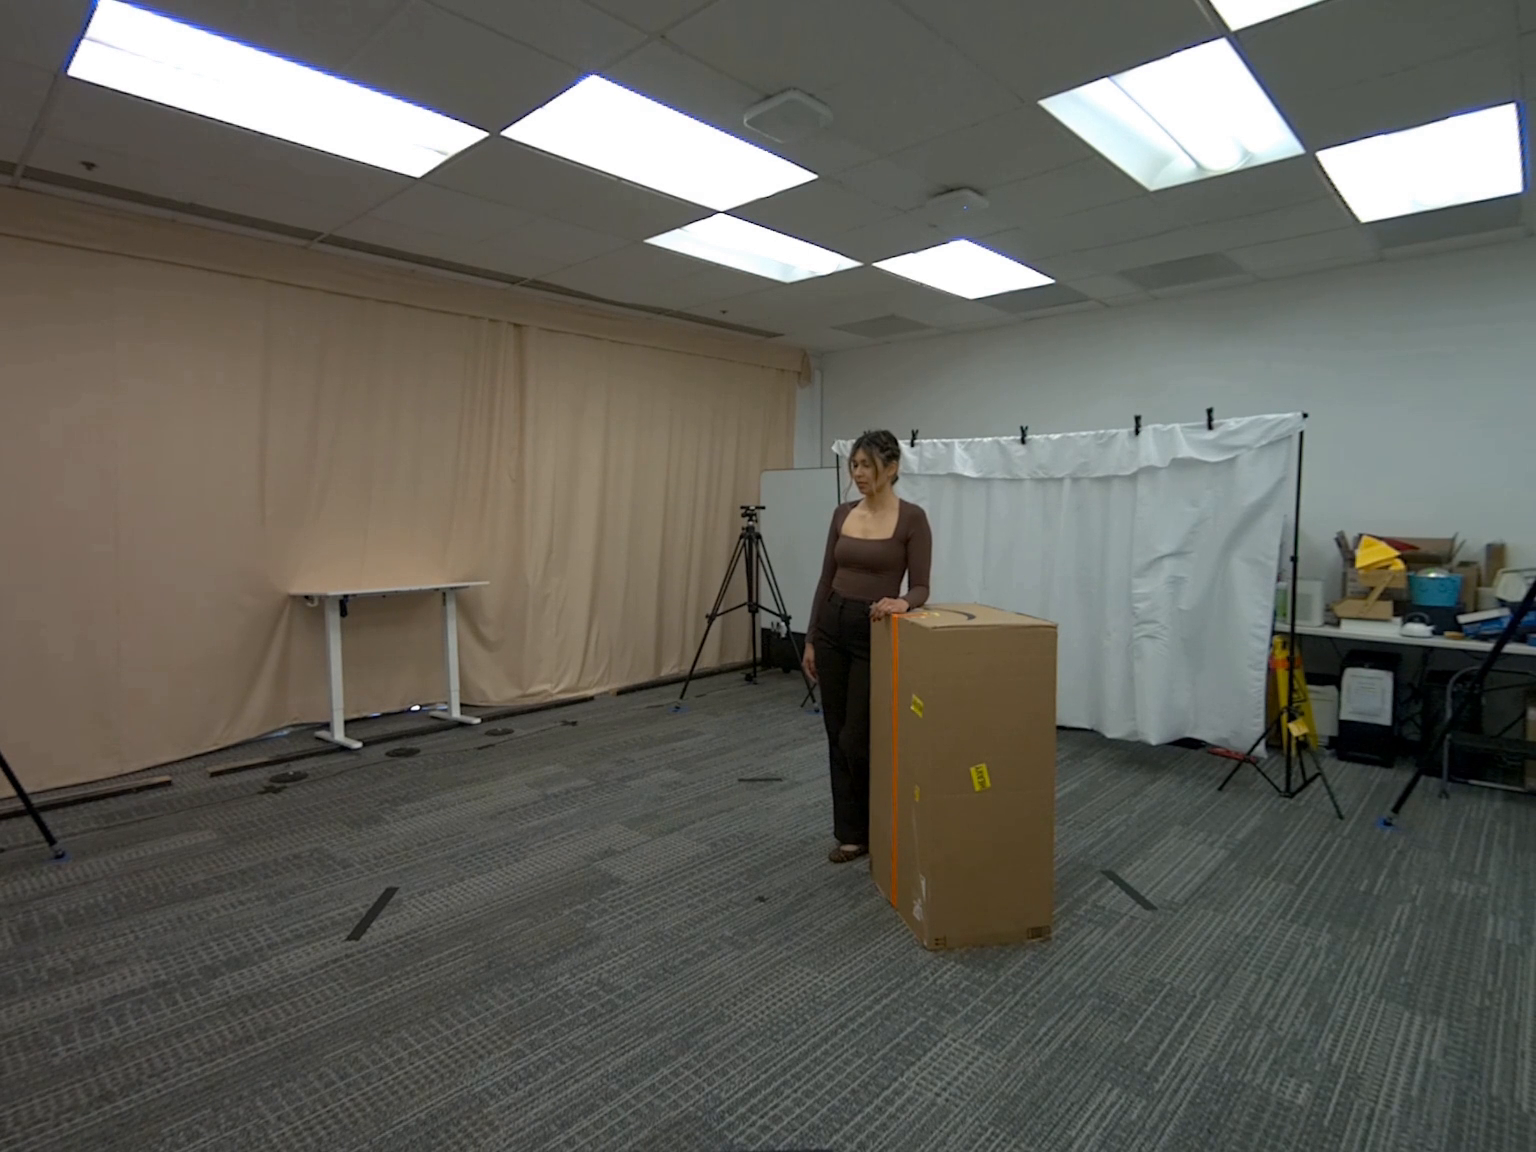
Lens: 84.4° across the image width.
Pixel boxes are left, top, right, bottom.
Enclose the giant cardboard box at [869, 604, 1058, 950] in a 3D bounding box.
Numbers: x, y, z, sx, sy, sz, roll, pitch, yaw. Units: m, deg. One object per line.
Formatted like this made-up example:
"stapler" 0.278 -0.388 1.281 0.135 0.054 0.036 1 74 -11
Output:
"giant cardboard box" 0.652 0.639 2.911 0.442 1.025 0.592 0 3 -11
